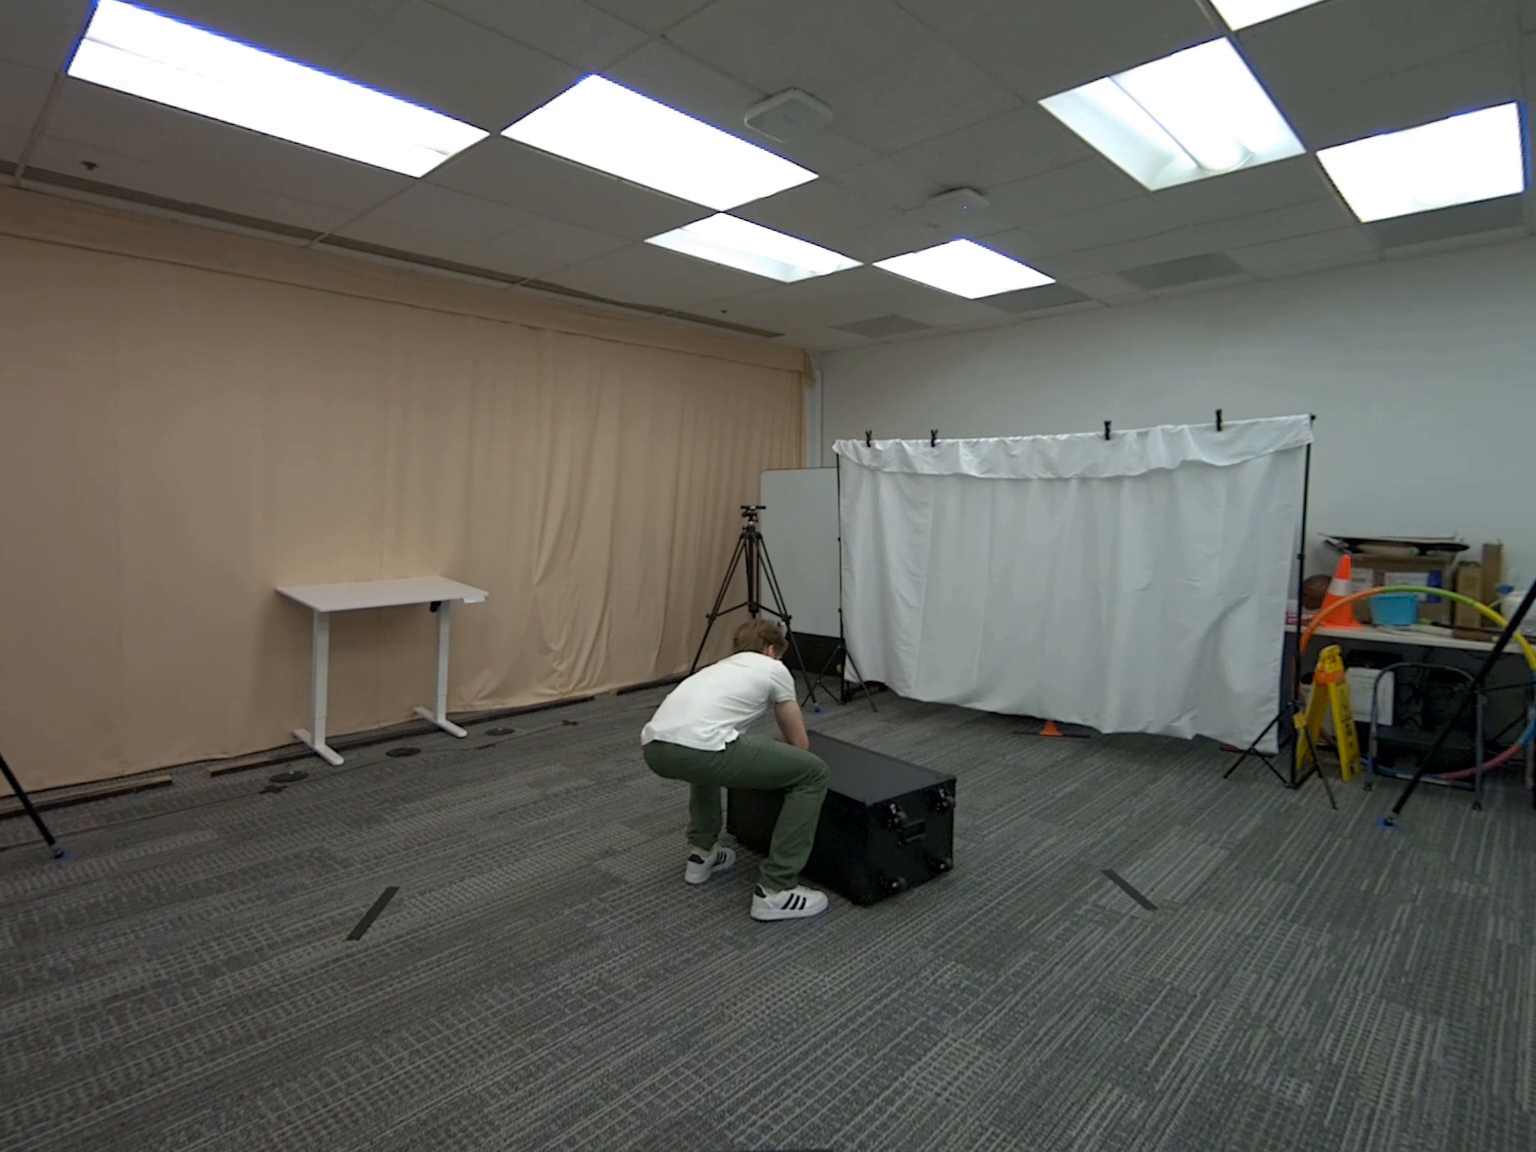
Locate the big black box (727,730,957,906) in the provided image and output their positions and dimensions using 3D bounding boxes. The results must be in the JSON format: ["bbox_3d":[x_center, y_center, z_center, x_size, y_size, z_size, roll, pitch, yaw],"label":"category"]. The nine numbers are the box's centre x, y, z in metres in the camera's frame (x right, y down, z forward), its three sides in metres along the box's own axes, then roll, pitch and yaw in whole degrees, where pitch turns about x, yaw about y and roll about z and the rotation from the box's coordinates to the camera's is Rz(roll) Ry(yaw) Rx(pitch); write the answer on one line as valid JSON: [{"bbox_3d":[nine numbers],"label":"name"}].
[{"bbox_3d":[0.287,0.915,3.296,0.507,0.384,0.897,-2,5,-38],"label":"big black box"}]
